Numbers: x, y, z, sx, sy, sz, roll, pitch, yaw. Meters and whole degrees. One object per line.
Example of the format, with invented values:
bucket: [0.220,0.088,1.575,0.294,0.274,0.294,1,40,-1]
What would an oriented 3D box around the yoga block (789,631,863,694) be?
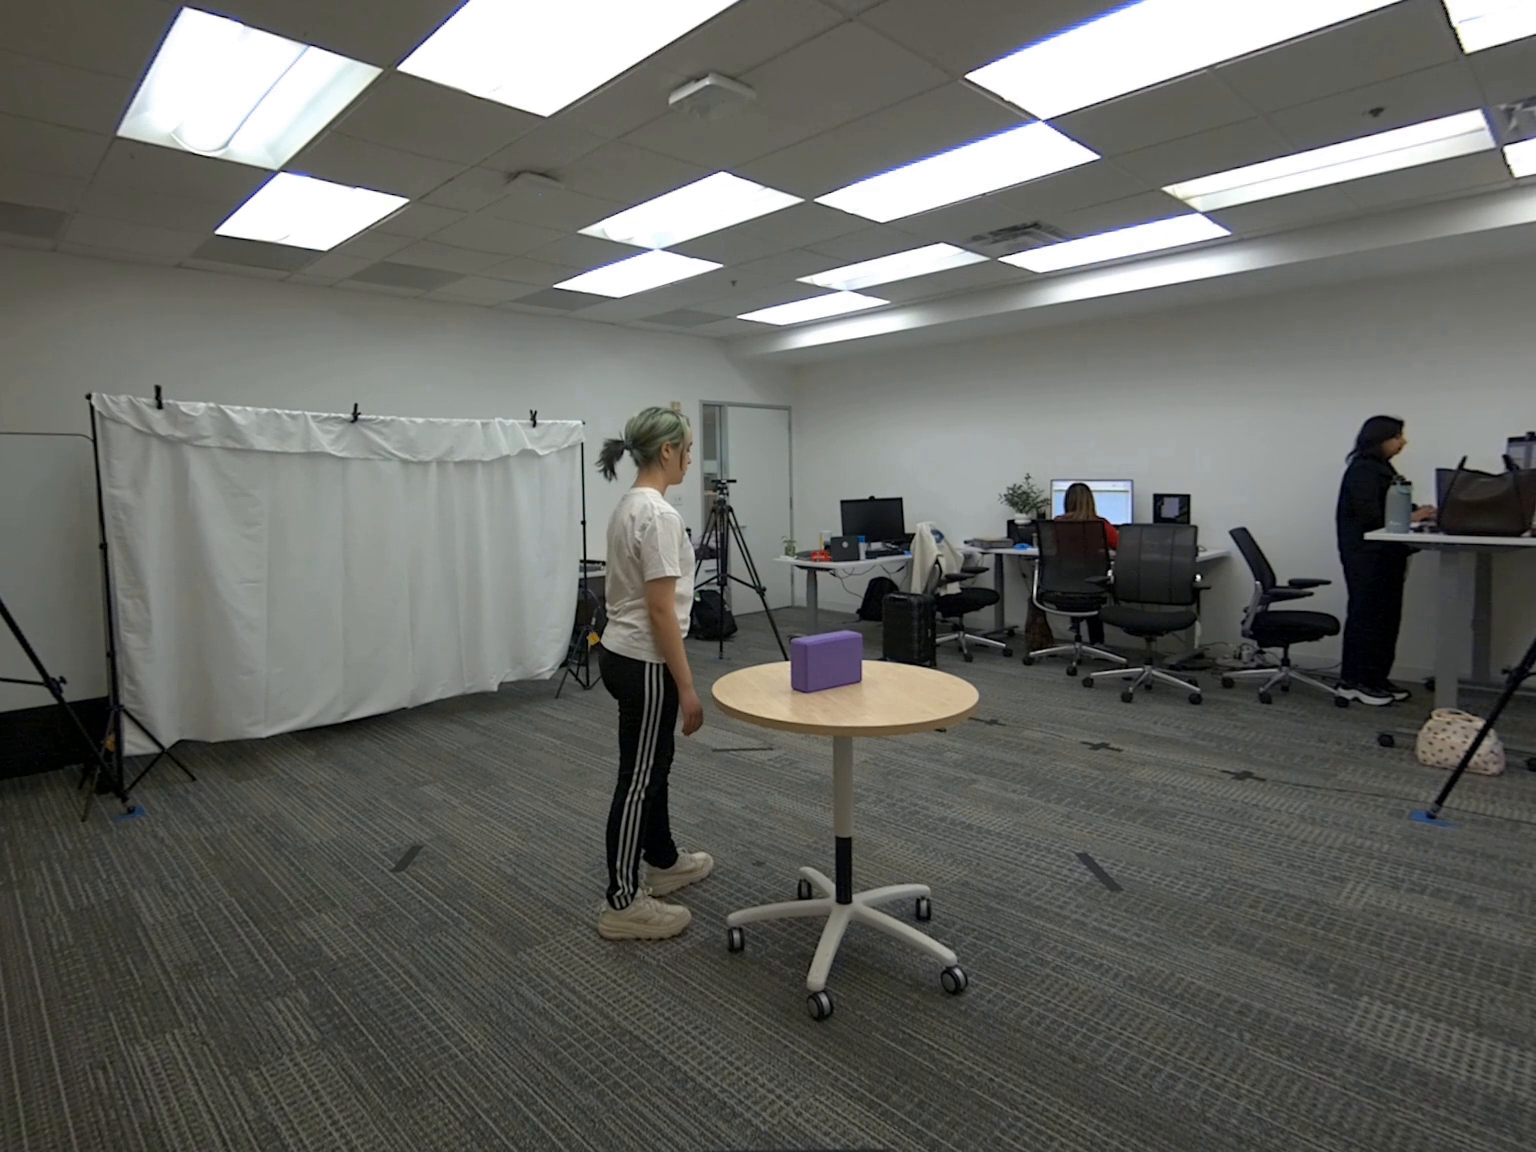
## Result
yoga block: [0.176,0.249,2.514,0.223,0.148,0.079,-5,7,-36]
